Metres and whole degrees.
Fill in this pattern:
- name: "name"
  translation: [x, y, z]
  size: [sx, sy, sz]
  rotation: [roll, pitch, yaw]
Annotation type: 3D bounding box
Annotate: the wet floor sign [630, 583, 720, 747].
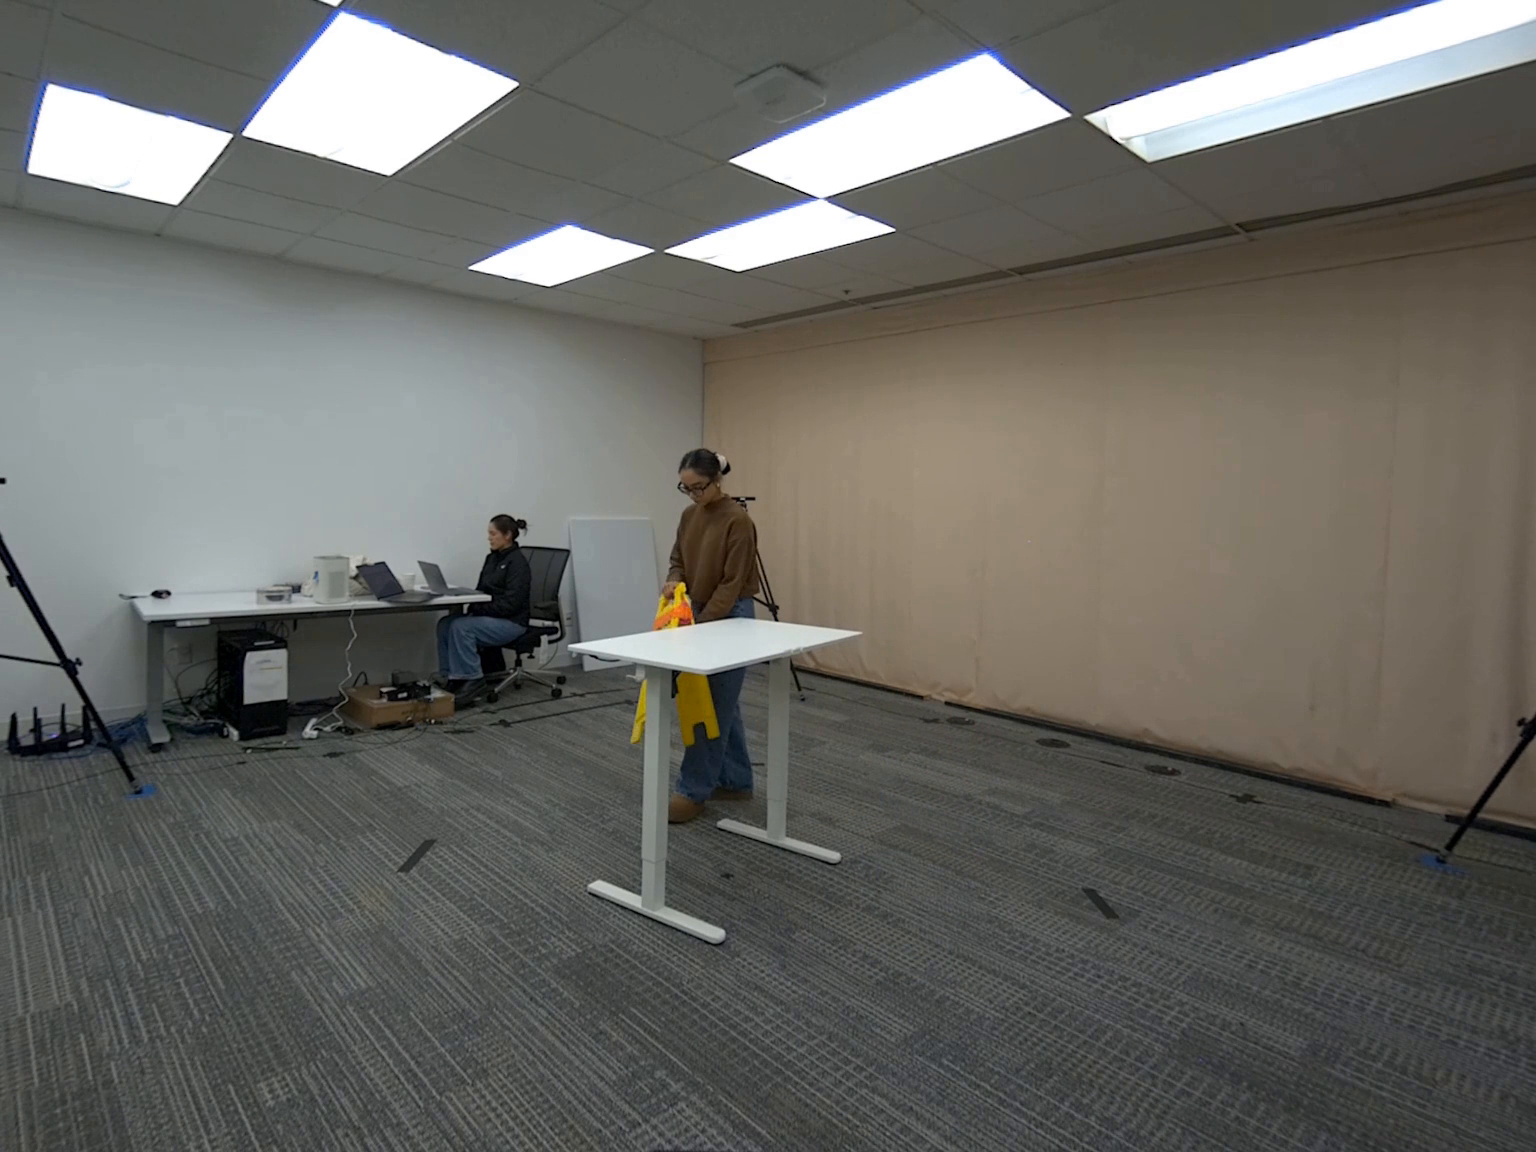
- name: "wet floor sign"
  translation: [-0.408, 0.361, 3.524]
  size: [0.283, 0.656, 0.284]
  rotation: [9, -25, -31]
